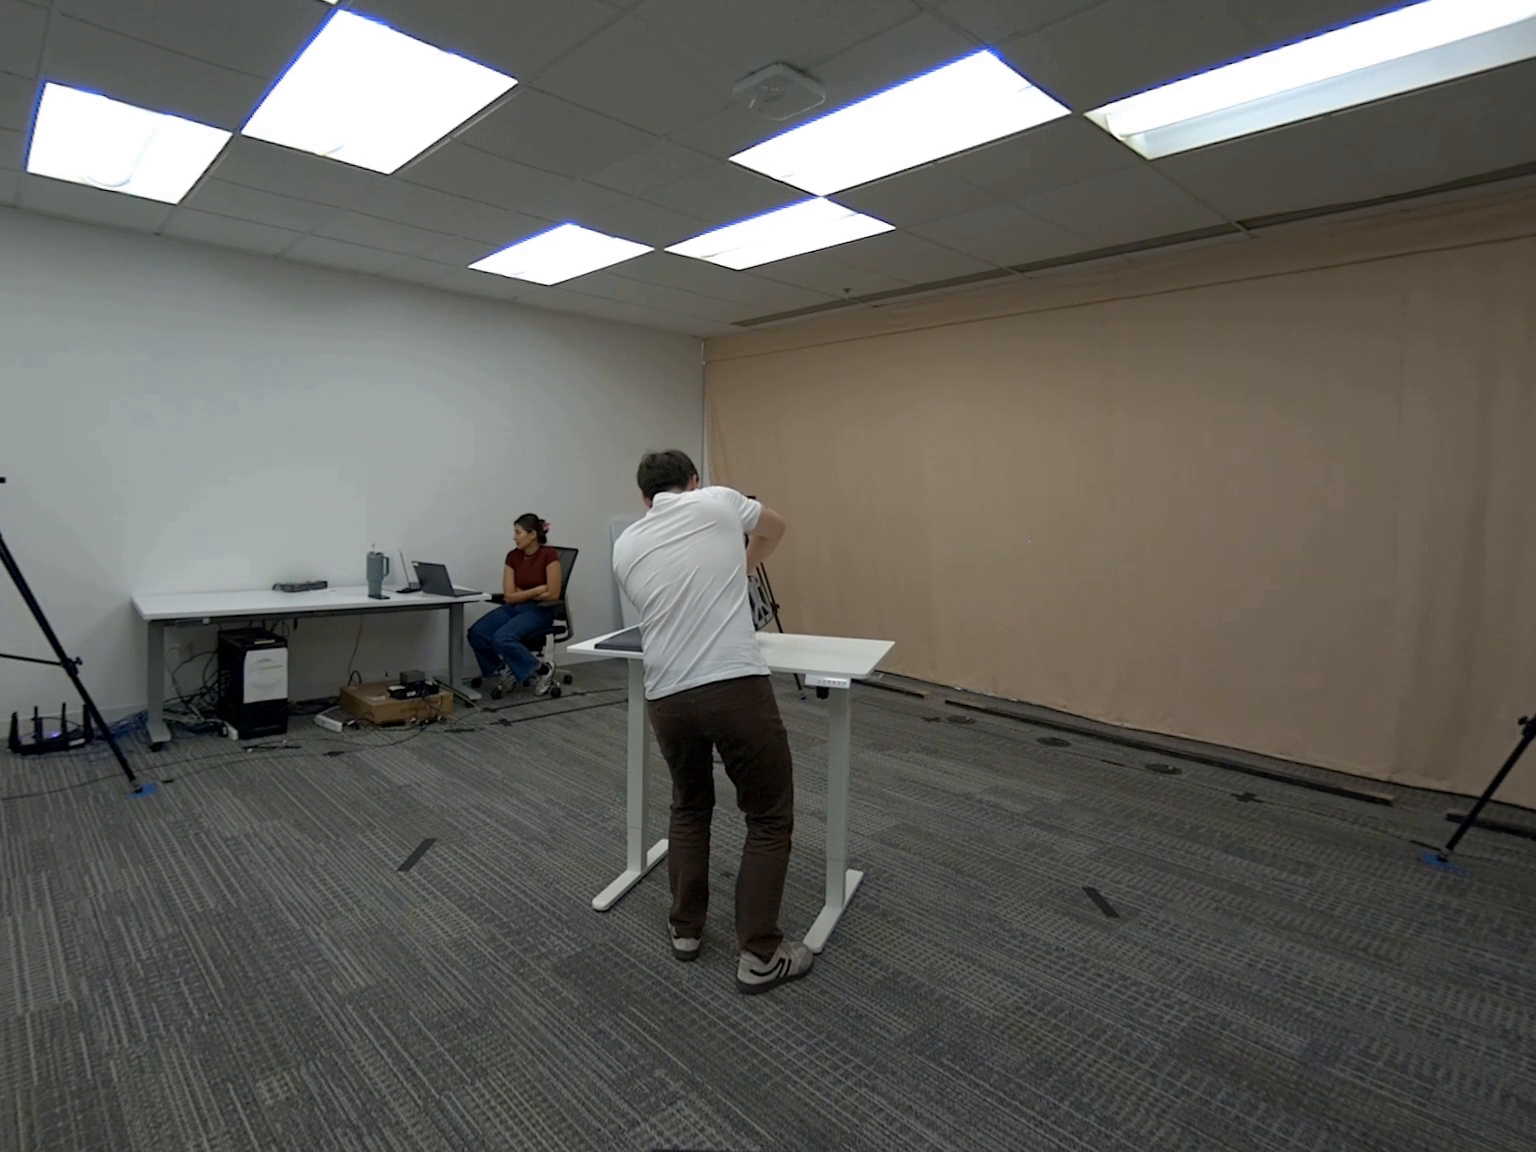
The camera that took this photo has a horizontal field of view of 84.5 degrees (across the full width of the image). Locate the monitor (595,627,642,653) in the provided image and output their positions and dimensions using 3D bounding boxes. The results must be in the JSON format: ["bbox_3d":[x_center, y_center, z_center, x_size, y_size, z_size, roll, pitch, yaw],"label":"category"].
[{"bbox_3d":[-0.270,0.169,2.960,0.527,0.187,0.533,-18,-1,15],"label":"monitor"}]
